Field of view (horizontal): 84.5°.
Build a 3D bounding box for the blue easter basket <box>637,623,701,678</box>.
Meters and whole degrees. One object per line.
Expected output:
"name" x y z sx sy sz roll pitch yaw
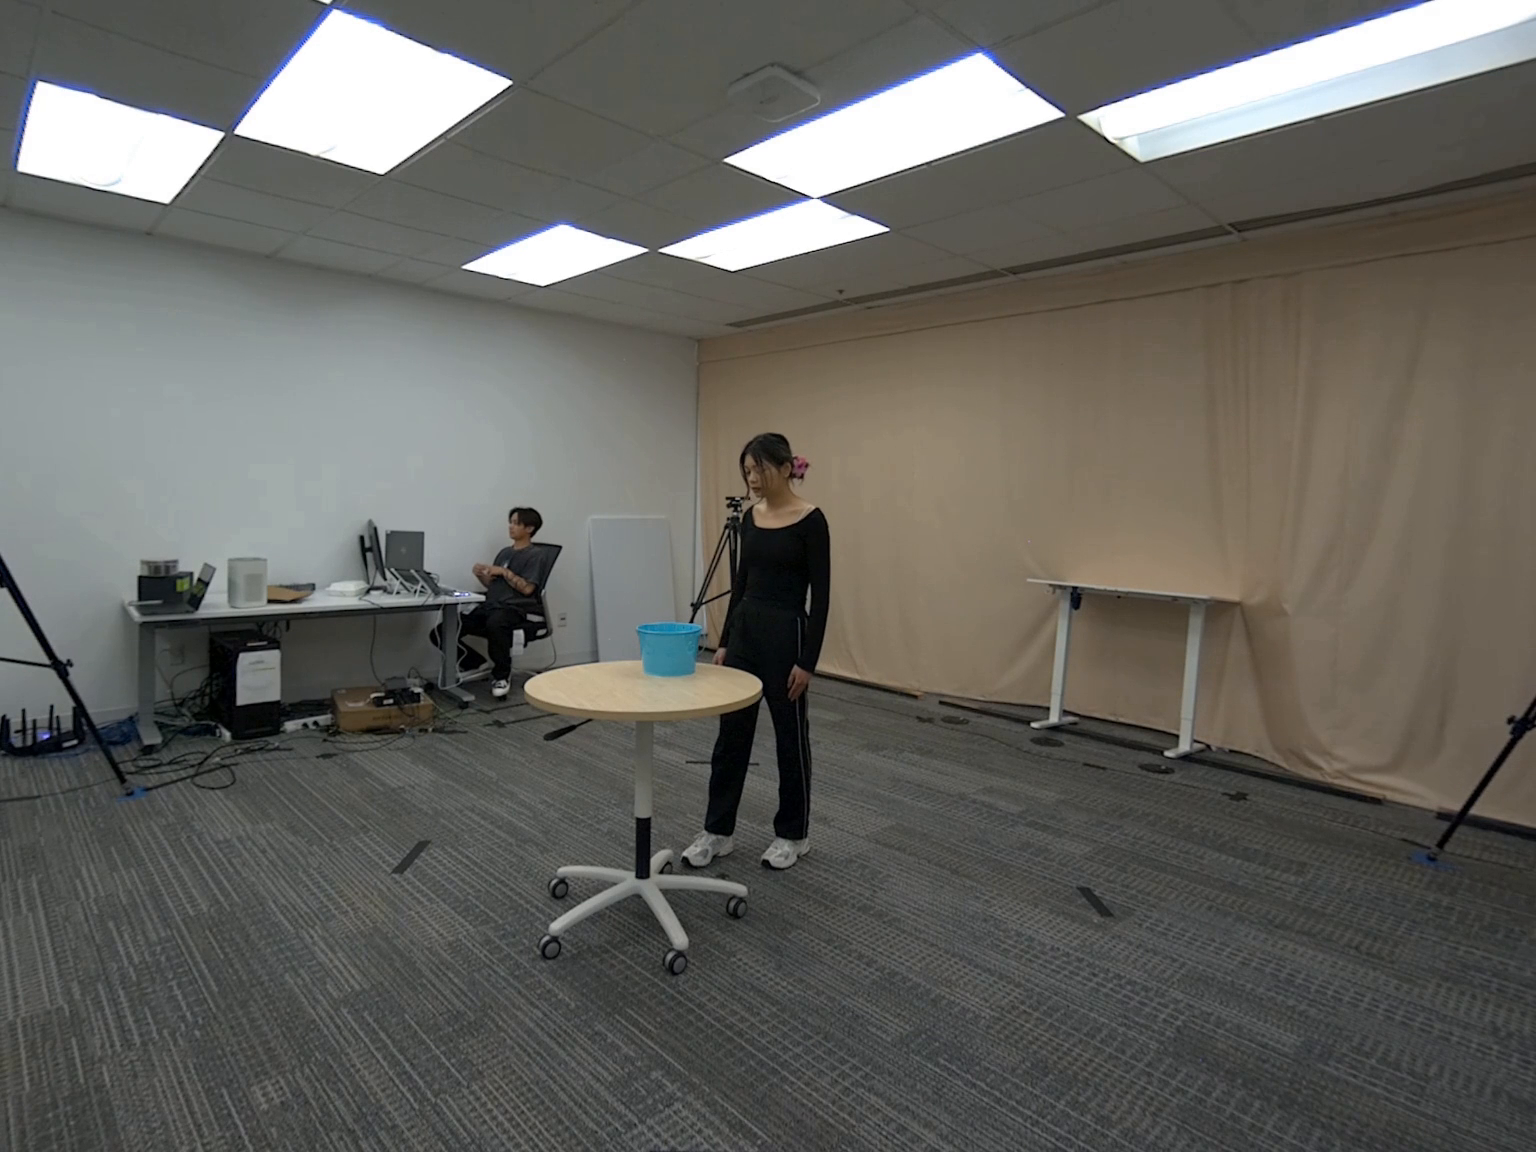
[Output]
"blue easter basket" -0.350 0.257 2.930 0.243 0.155 0.244 0 5 -1
